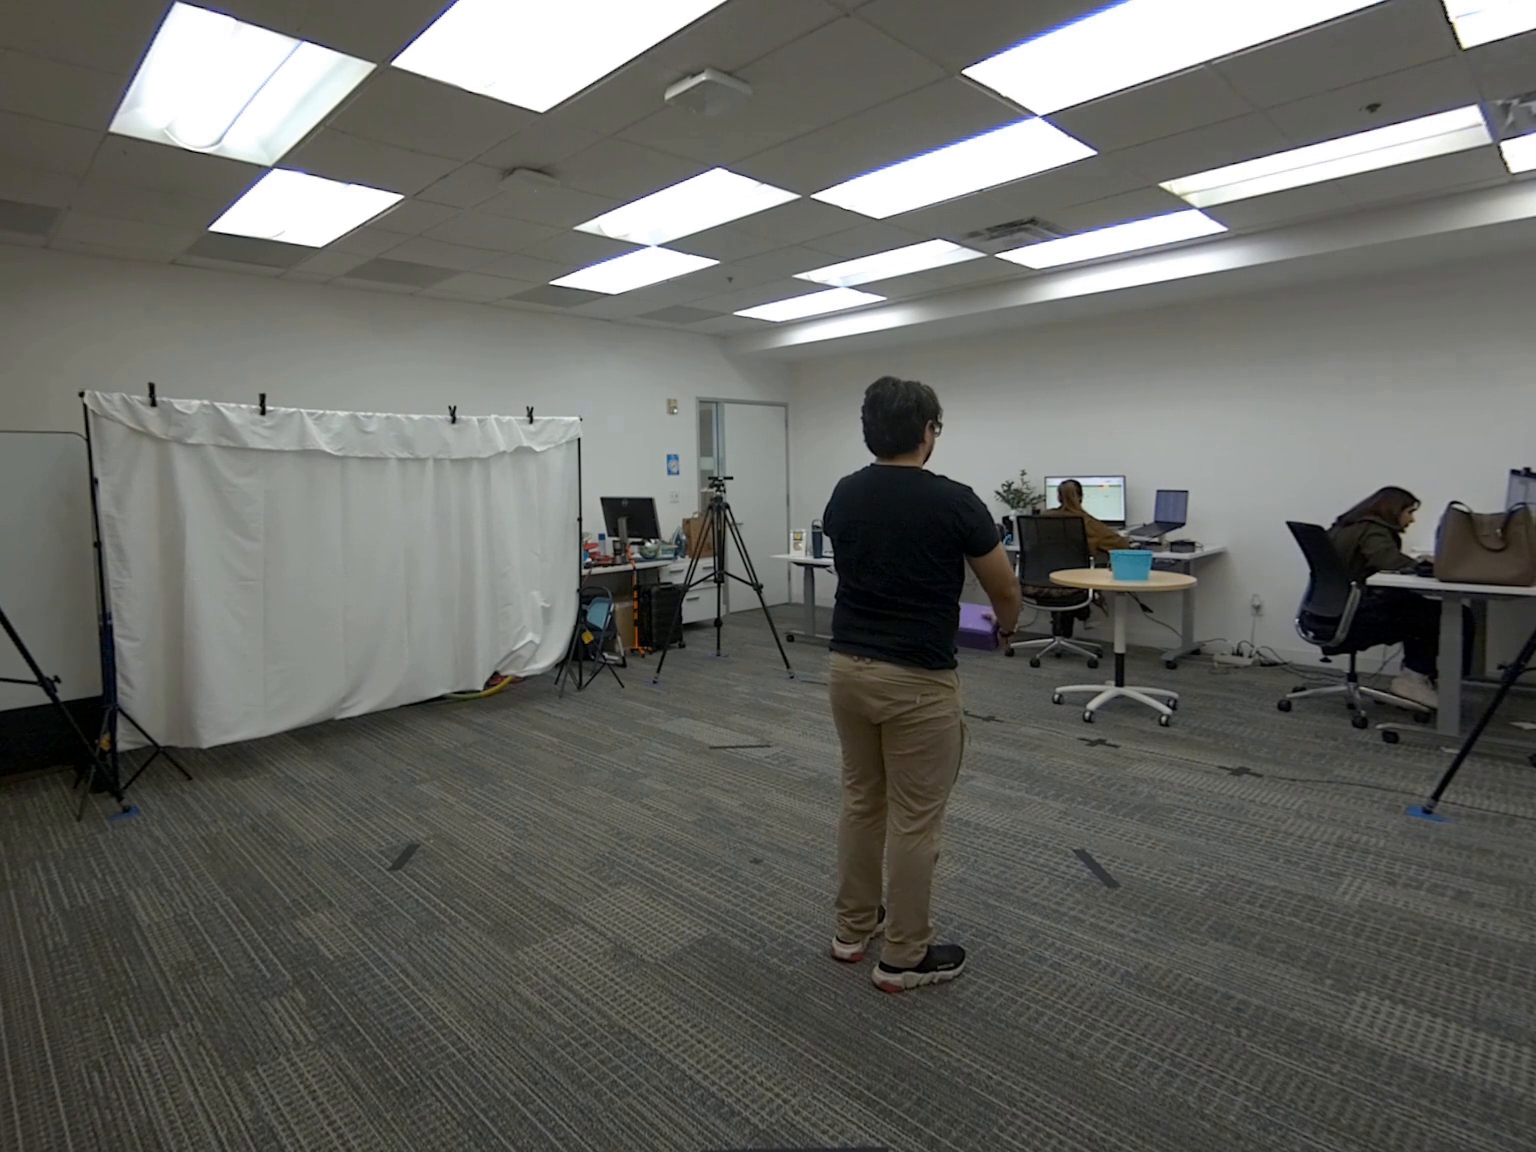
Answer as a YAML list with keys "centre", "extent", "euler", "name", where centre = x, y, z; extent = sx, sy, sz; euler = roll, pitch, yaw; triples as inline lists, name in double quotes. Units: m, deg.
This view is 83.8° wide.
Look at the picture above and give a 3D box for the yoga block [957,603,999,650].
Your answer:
- centre: [0.638, 0.140, 2.682]
  extent: [0.237, 0.074, 0.147]
  euler: [10, 33, 41]
  name: "yoga block"
